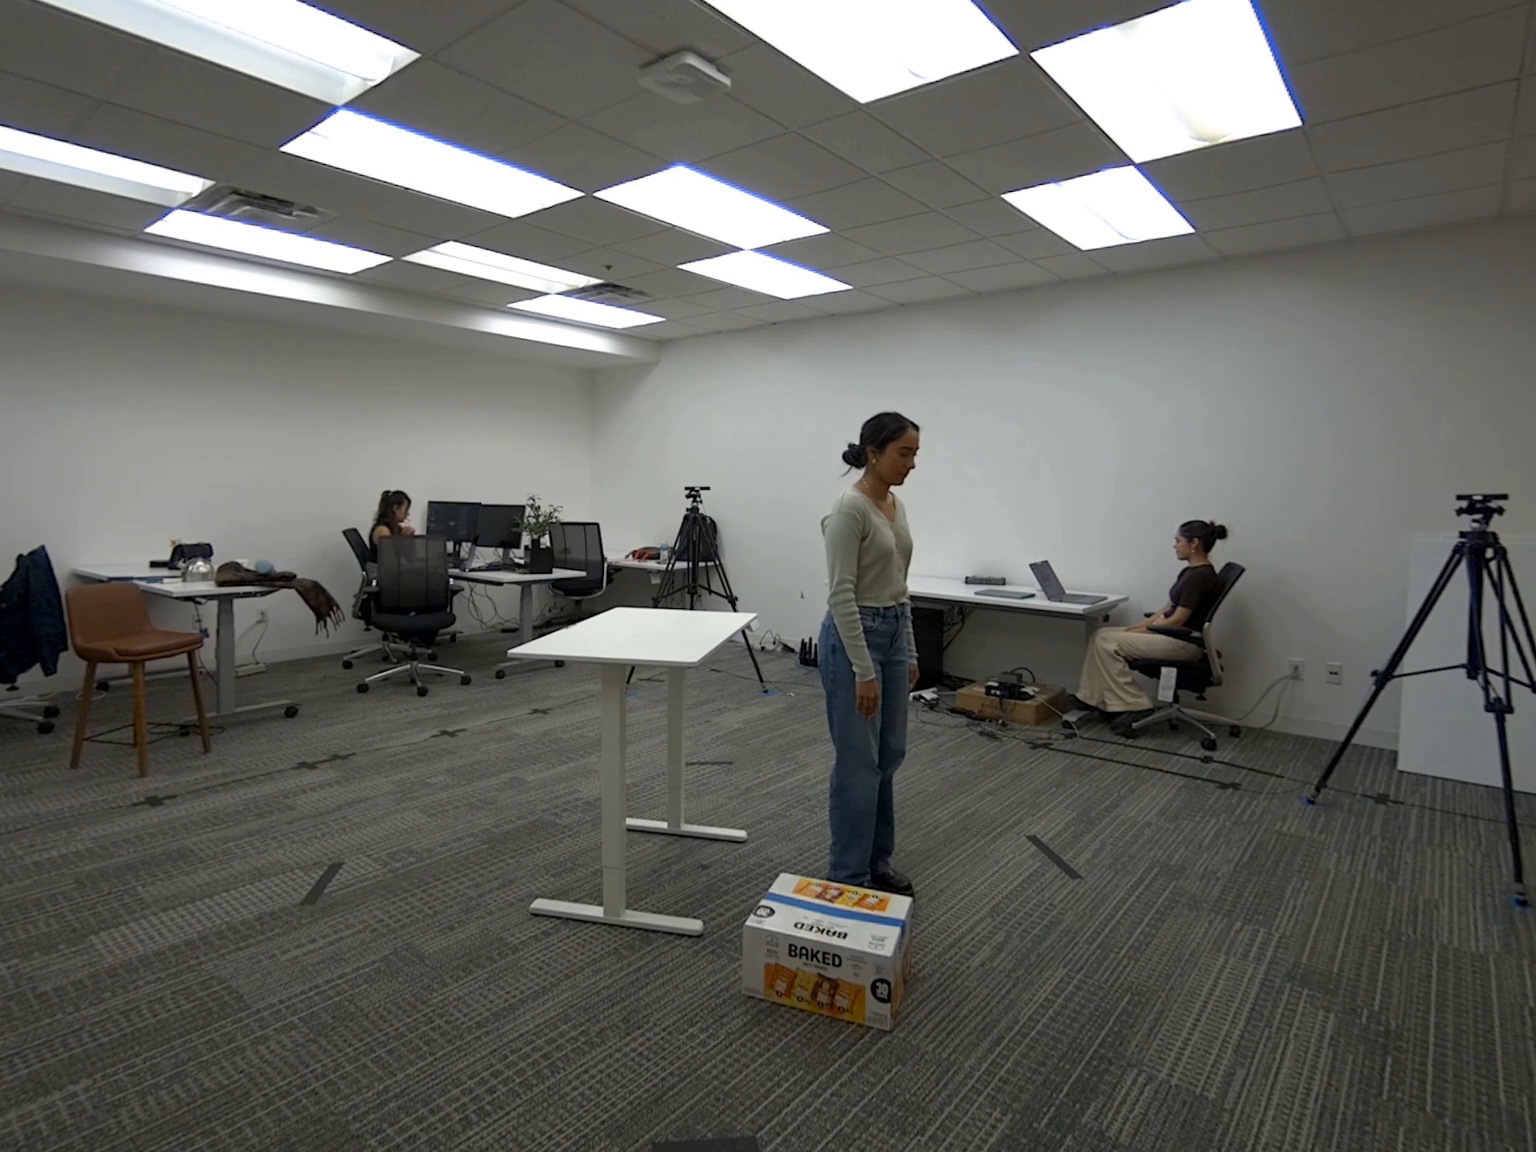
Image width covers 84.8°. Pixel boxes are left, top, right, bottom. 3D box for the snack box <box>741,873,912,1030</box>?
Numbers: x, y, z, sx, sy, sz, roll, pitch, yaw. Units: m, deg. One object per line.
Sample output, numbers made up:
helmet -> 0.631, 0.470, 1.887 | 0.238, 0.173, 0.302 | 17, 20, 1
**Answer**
snack box -> 0.170, 1.041, 2.401 | 0.414, 0.205, 0.334 | 3, 5, 20
